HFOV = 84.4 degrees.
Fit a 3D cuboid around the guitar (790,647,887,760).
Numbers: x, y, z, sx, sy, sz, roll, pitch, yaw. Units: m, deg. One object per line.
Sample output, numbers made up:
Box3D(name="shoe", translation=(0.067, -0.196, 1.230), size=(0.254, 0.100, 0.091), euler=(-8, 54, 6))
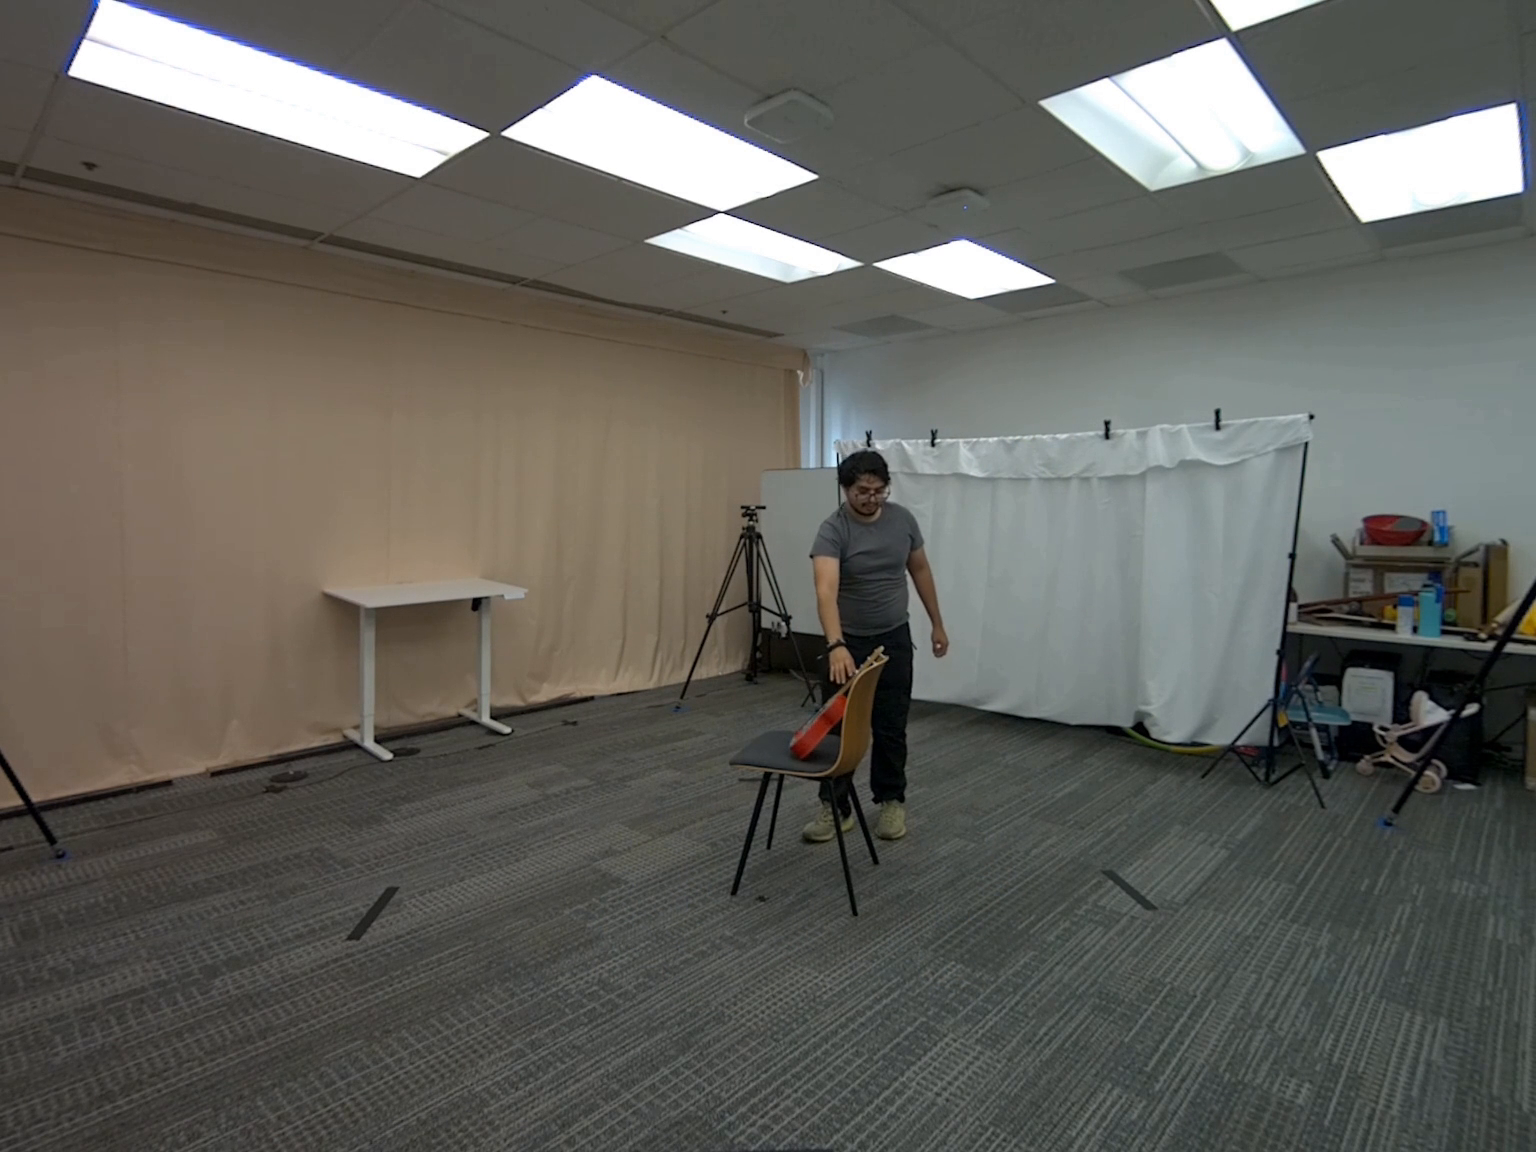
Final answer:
Box3D(name="guitar", translation=(0.257, 0.462, 3.036), size=(0.071, 0.499, 0.191), euler=(43, 11, 3))
